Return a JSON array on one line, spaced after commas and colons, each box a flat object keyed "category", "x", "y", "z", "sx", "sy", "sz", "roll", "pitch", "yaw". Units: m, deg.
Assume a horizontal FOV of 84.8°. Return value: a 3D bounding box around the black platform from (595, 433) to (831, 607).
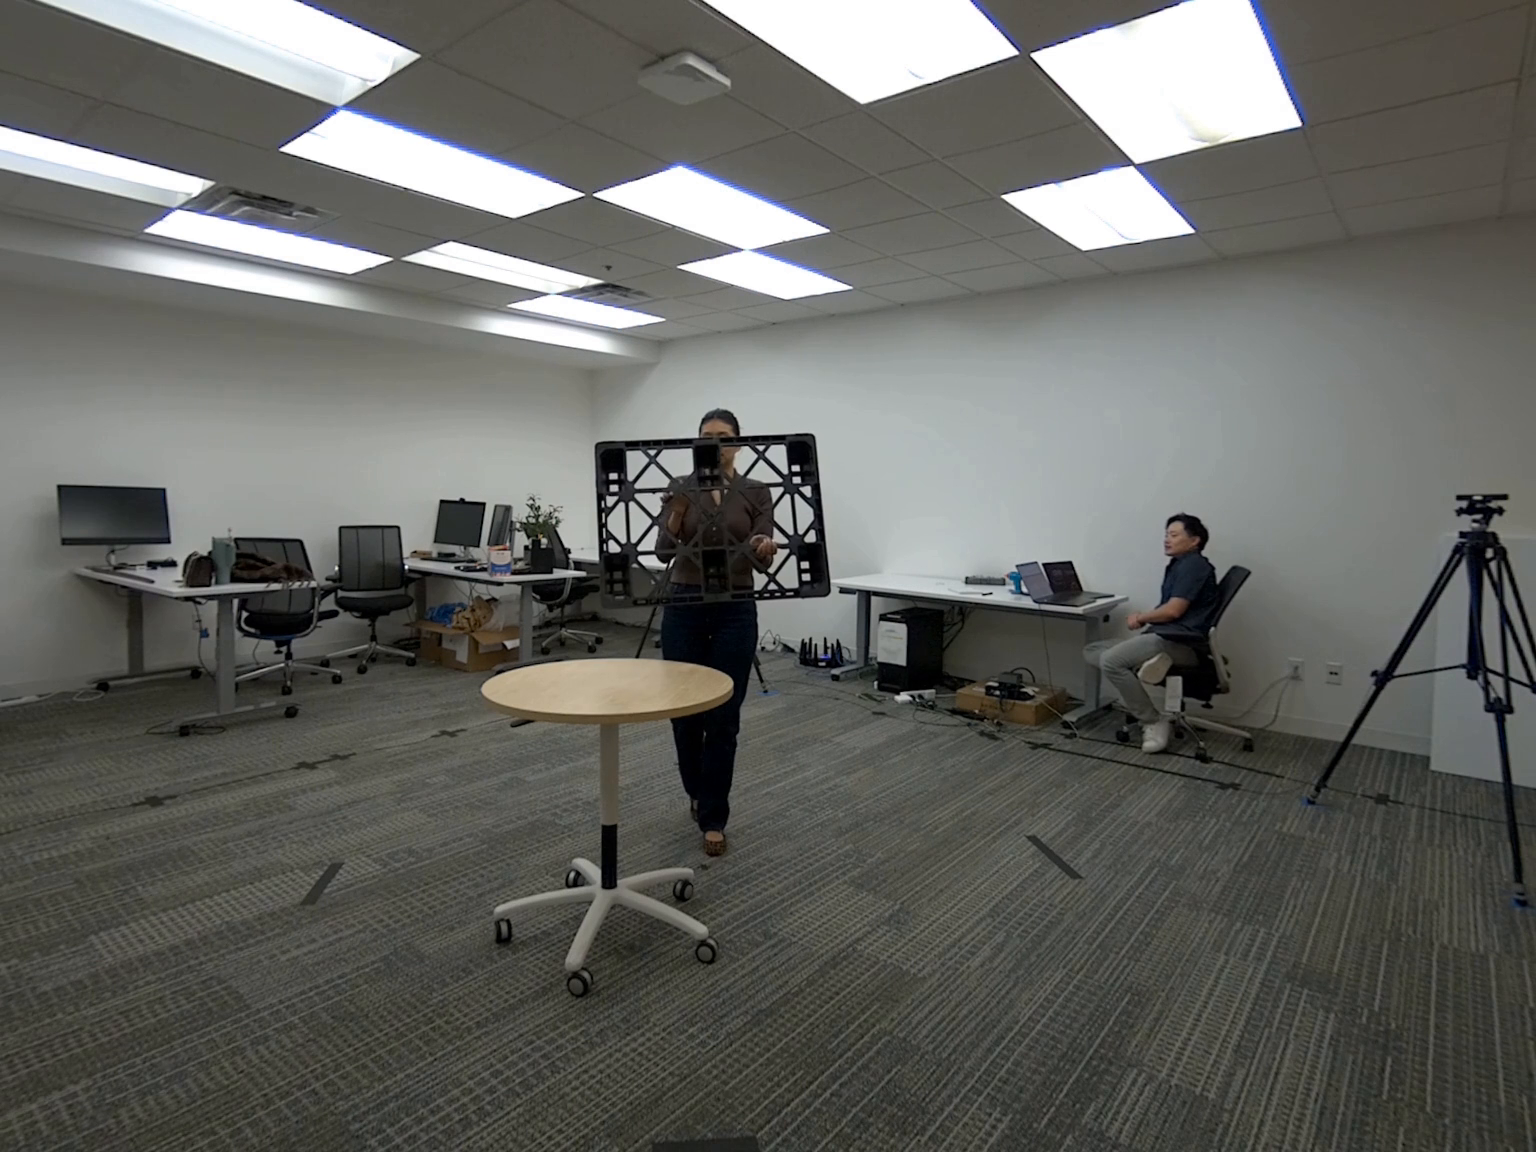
[{"category": "black platform", "x": -0.217, "y": -0.195, "z": 3.052, "sx": 0.800, "sy": 0.612, "sz": 0.142, "roll": -2, "pitch": -12, "yaw": -6}]
